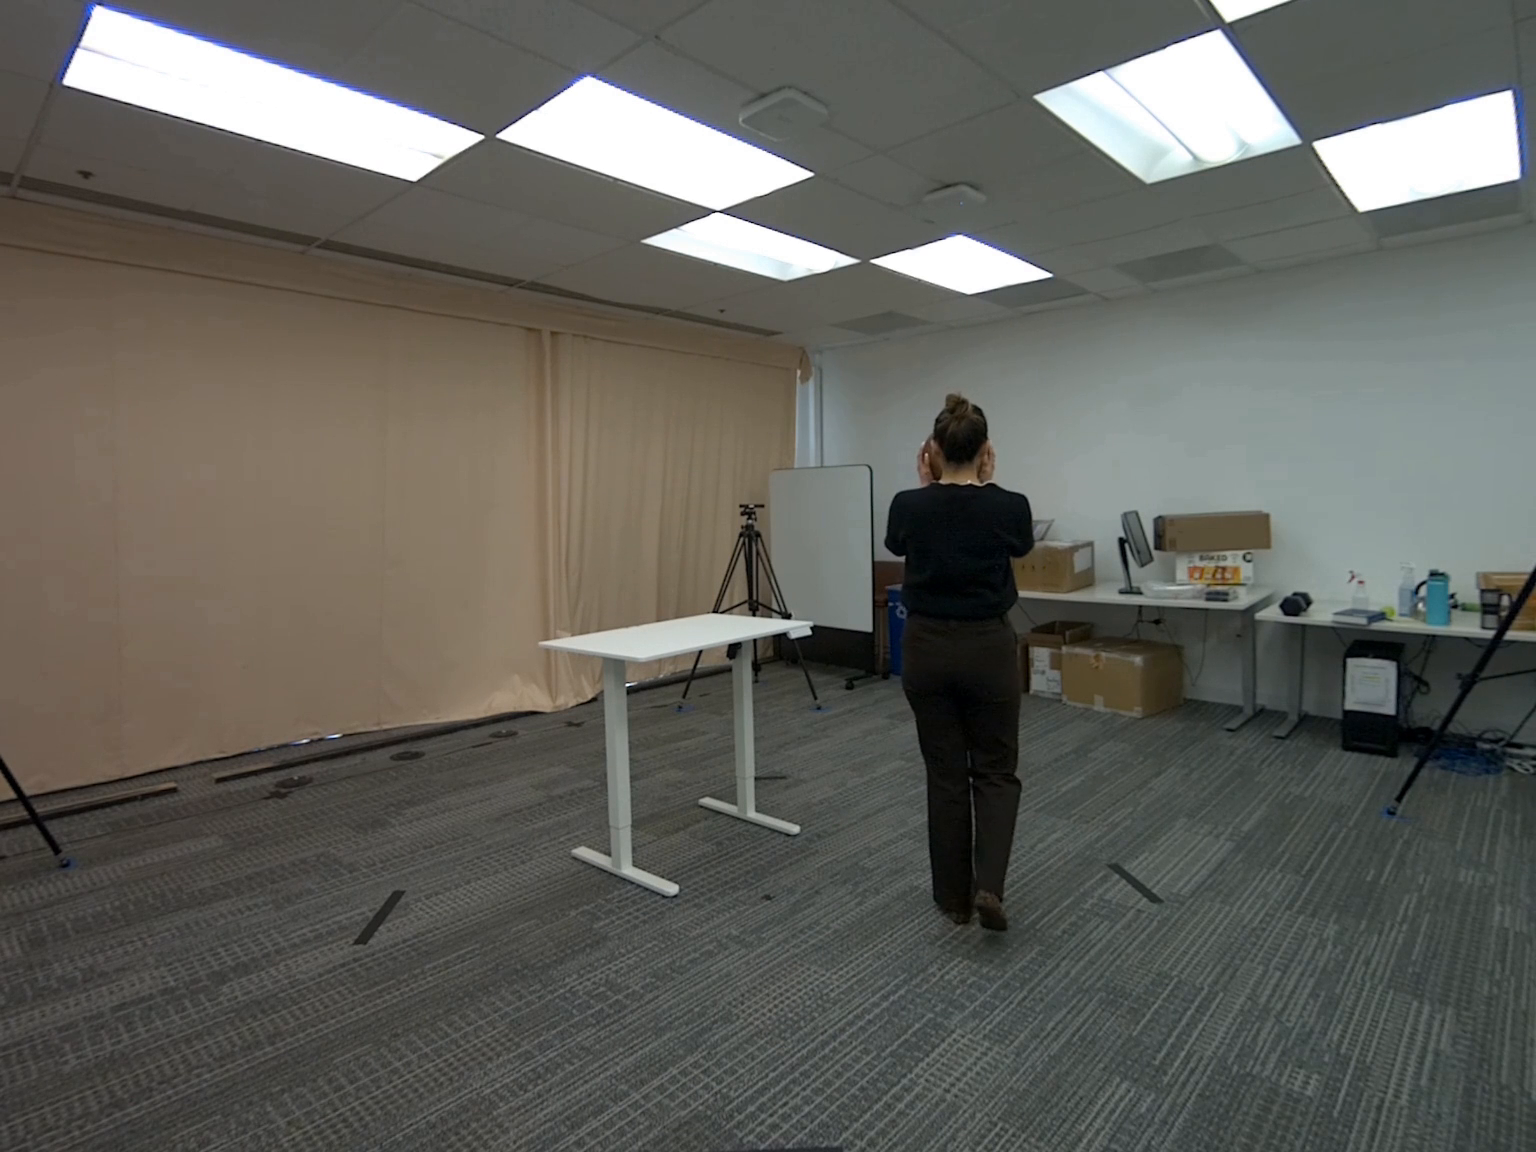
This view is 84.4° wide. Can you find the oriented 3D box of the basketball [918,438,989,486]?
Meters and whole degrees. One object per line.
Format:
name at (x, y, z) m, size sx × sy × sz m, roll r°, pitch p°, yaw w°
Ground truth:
basketball at (0.695, -0.438, 3.054) m, size 0.236 × 0.235 × 0.237 m, roll -1°, pitch 4°, yaw -2°
